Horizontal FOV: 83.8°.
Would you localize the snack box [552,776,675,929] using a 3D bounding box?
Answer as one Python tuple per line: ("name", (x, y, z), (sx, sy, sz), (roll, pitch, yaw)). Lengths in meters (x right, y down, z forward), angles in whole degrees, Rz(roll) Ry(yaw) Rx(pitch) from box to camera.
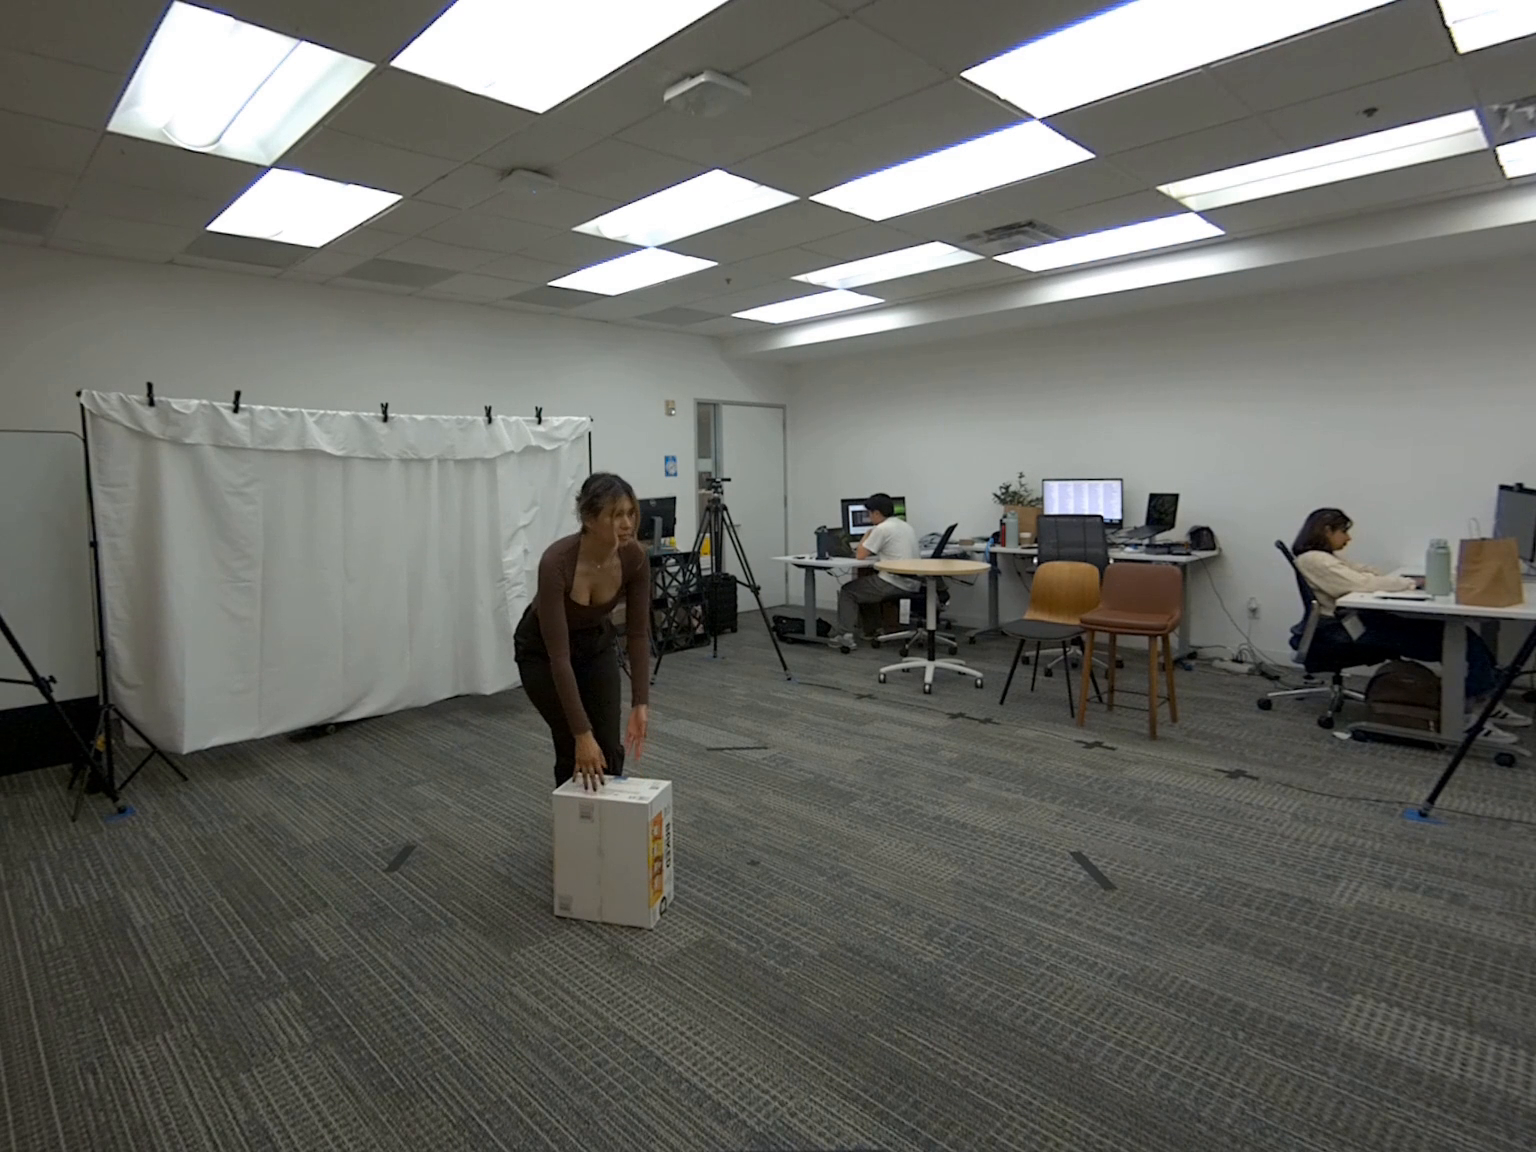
("snack box", (-0.506, 0.888, 2.783), (0.345, 0.403, 0.203), (0, 4, 15))
